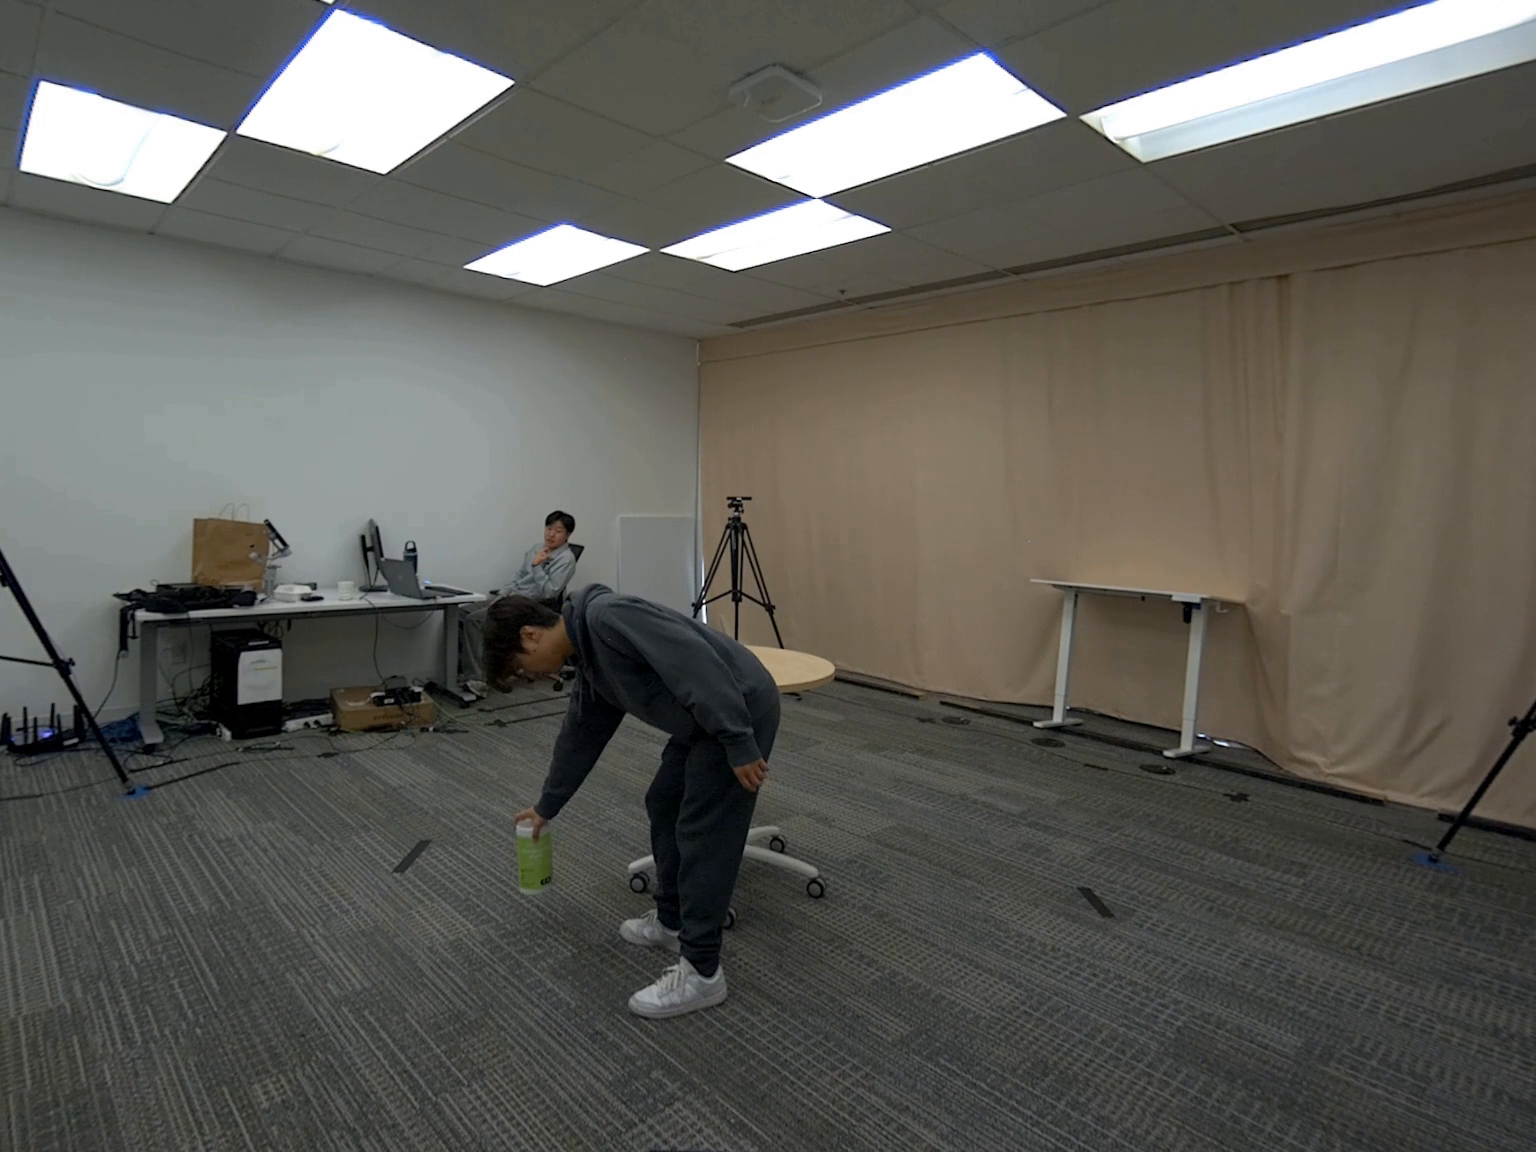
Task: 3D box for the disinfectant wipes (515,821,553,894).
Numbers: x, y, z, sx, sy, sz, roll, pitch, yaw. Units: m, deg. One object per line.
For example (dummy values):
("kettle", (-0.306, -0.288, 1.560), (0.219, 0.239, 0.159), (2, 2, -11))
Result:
("disinfectant wipes", (-0.768, 0.901, 2.687), (0.118, 0.217, 0.118), (3, 3, -2))
